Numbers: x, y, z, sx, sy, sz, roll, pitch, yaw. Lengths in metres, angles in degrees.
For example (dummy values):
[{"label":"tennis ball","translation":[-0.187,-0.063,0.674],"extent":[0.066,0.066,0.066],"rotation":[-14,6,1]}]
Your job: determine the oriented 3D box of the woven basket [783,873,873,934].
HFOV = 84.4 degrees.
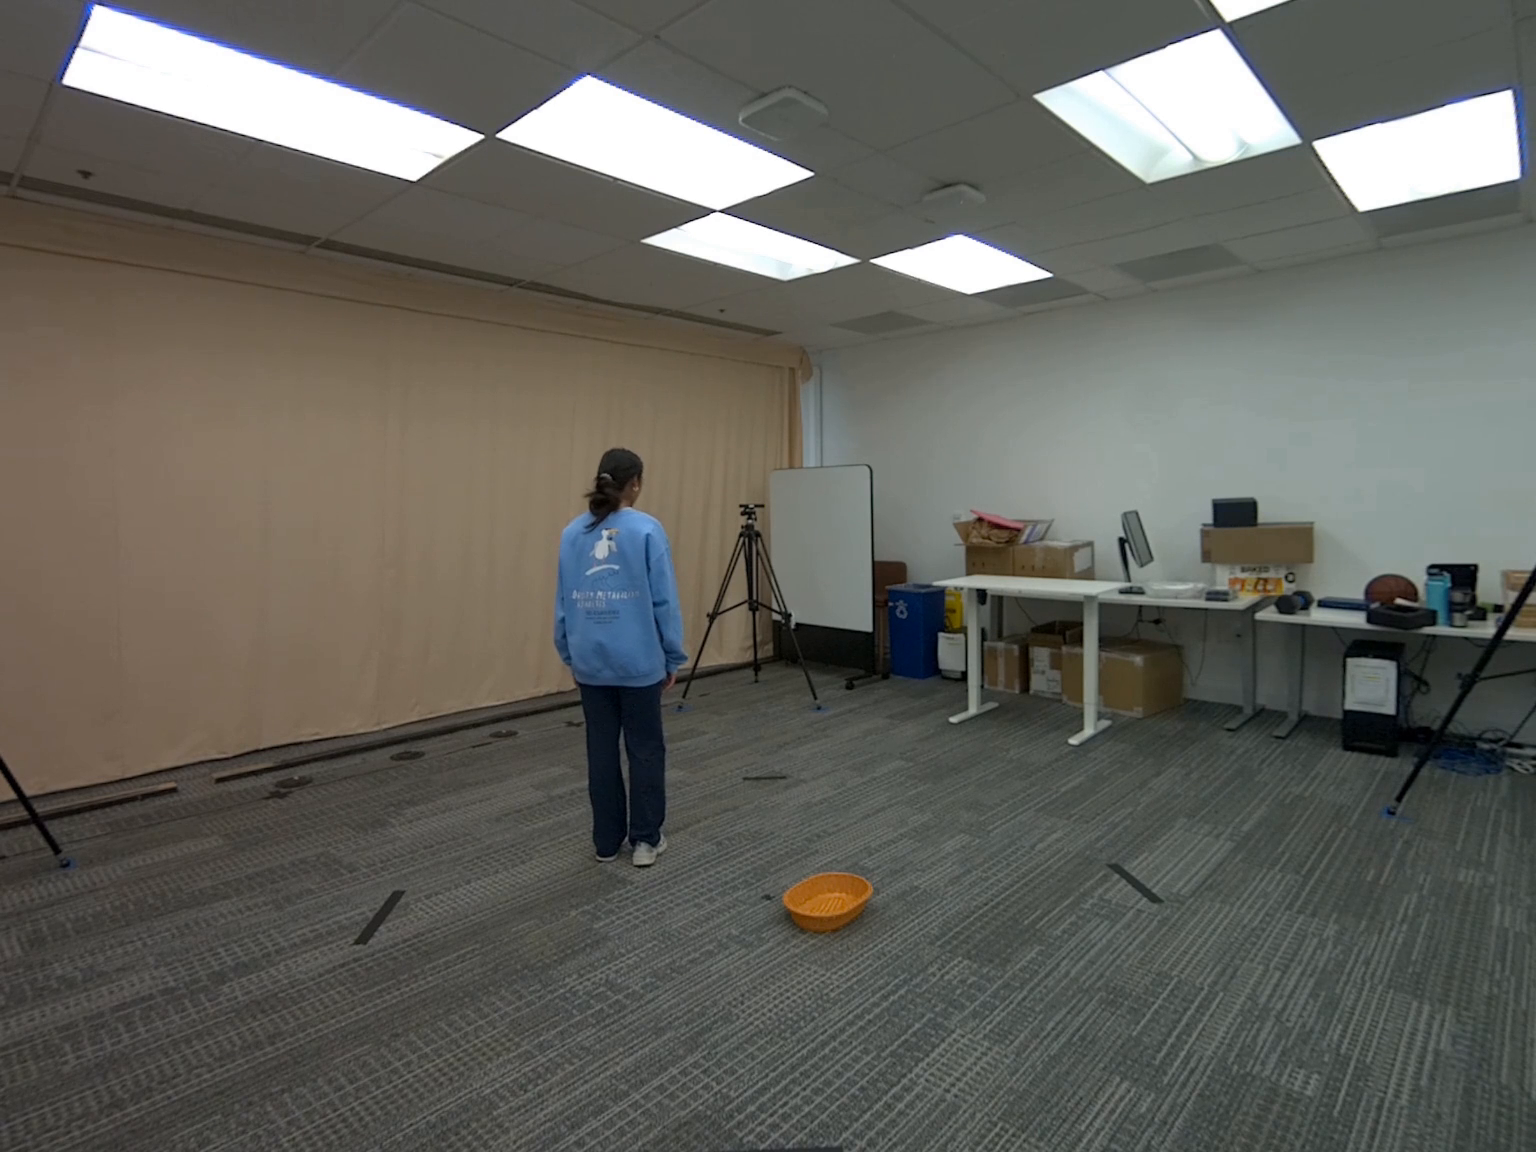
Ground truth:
[{"label":"woven basket","translation":[0.203,1.107,2.860],"extent":[0.260,0.073,0.340],"rotation":[2,6,41]}]
